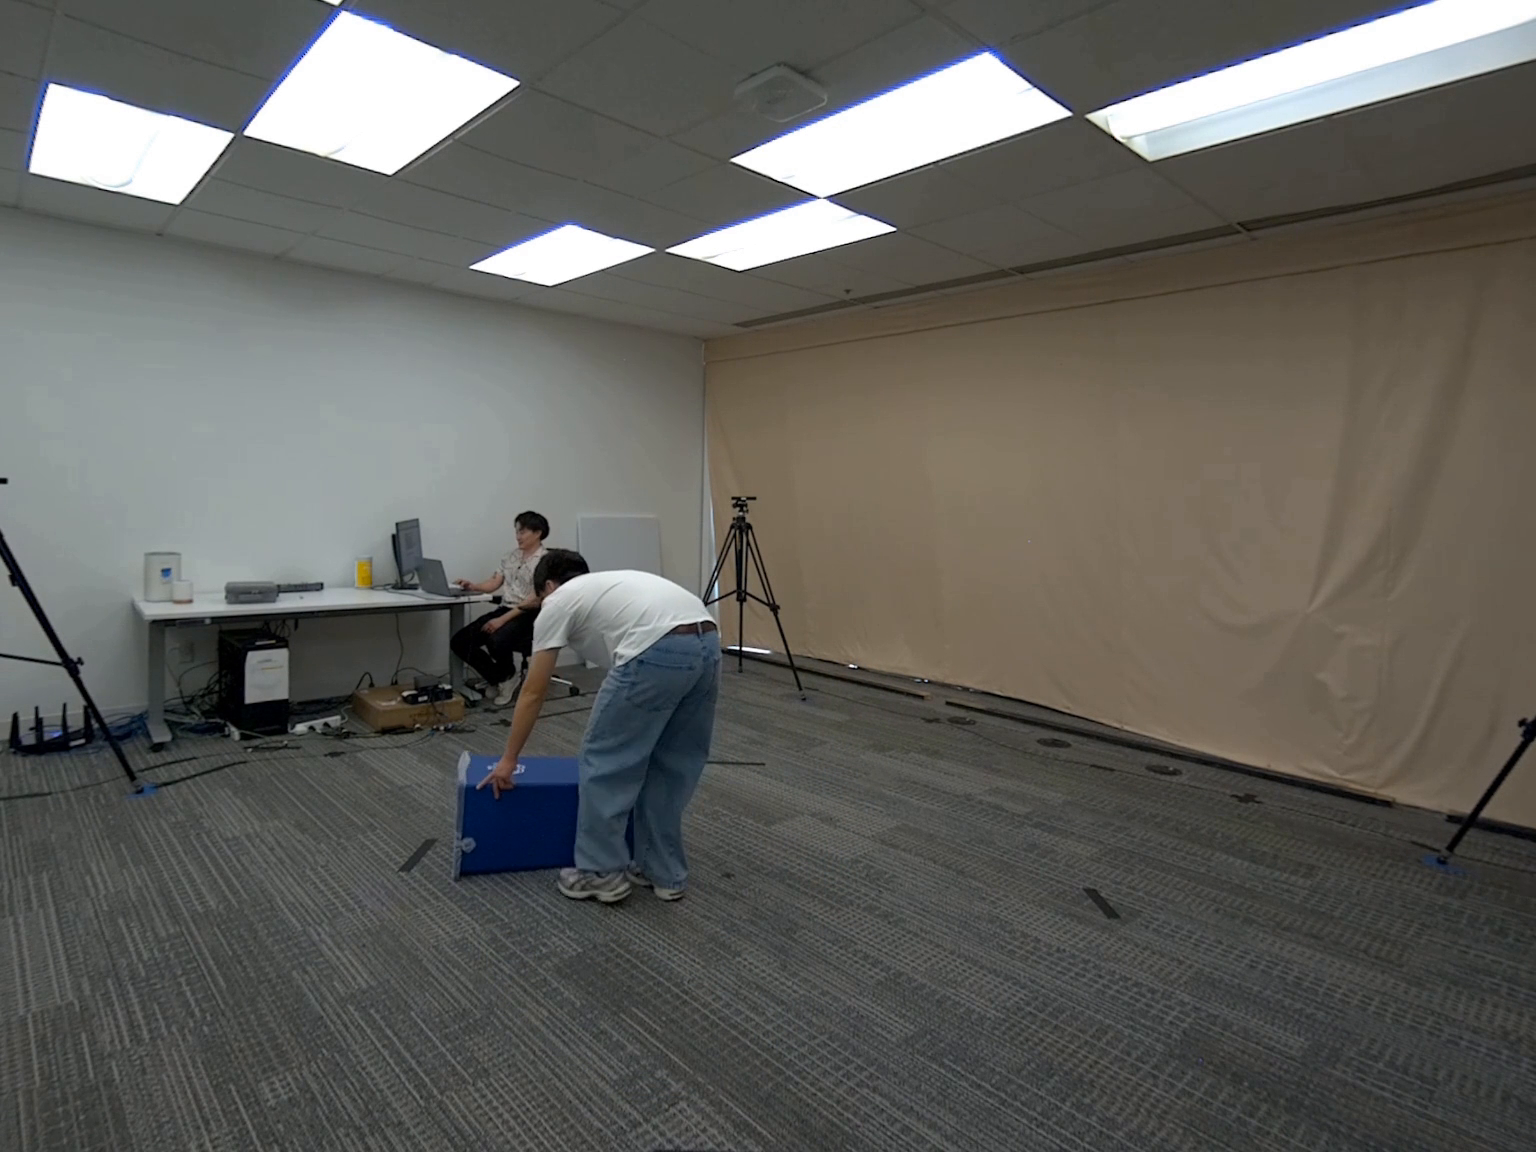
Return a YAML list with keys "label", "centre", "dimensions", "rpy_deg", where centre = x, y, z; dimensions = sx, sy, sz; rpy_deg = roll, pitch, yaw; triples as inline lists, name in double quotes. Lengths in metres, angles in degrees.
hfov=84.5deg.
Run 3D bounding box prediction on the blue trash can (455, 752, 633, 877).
- label: "blue trash can"
  centre: [-0.840, 0.908, 3.265]
  dimensions: [0.704, 0.377, 0.380]
  rpy_deg: [3, 3, -17]
